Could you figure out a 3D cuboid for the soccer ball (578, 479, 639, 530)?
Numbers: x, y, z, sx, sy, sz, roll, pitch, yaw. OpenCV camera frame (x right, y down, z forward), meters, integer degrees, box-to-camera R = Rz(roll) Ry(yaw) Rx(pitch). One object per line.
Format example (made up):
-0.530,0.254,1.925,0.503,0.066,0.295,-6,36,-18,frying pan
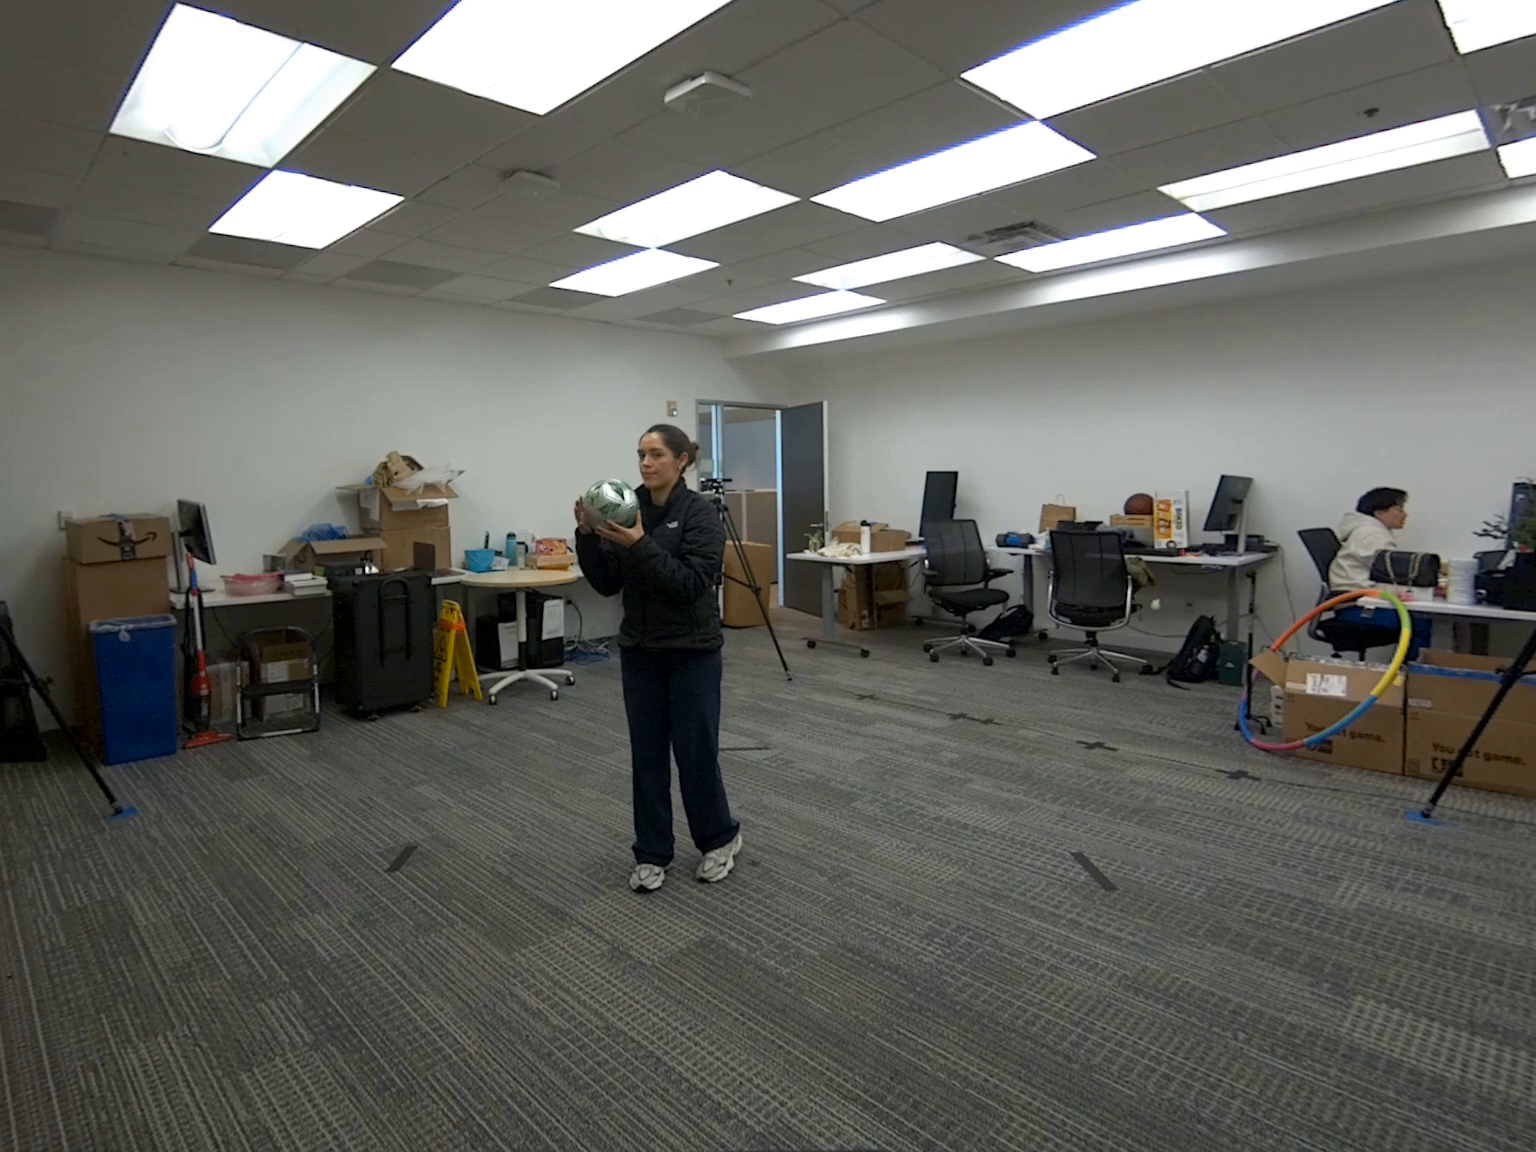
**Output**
-0.512,-0.224,2.813,0.187,0.187,0.188,-1,5,-2,soccer ball
